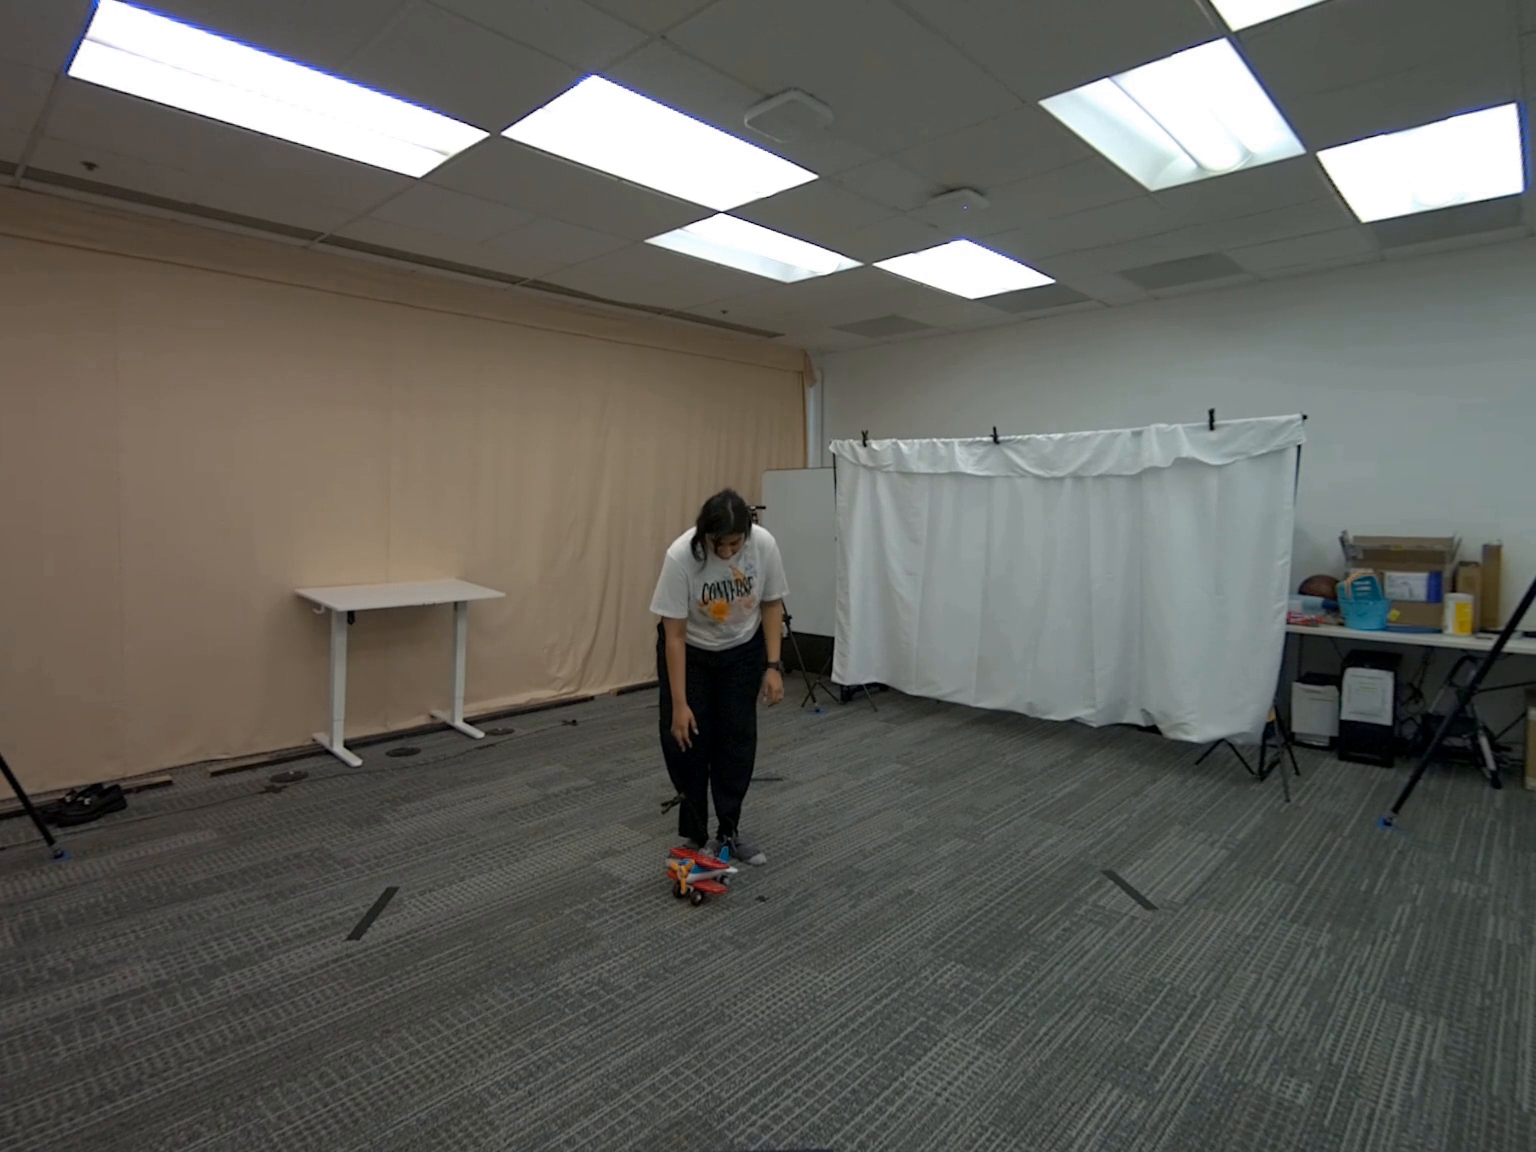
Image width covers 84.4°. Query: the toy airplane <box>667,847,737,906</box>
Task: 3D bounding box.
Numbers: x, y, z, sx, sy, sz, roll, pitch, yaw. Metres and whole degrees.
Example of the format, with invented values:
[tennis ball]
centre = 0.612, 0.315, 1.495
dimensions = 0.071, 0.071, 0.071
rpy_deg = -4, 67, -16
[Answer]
[toy airplane]
centre = -0.246, 1.060, 3.044
dimensions = 0.254, 0.156, 0.257
rpy_deg = -1, 5, 11
